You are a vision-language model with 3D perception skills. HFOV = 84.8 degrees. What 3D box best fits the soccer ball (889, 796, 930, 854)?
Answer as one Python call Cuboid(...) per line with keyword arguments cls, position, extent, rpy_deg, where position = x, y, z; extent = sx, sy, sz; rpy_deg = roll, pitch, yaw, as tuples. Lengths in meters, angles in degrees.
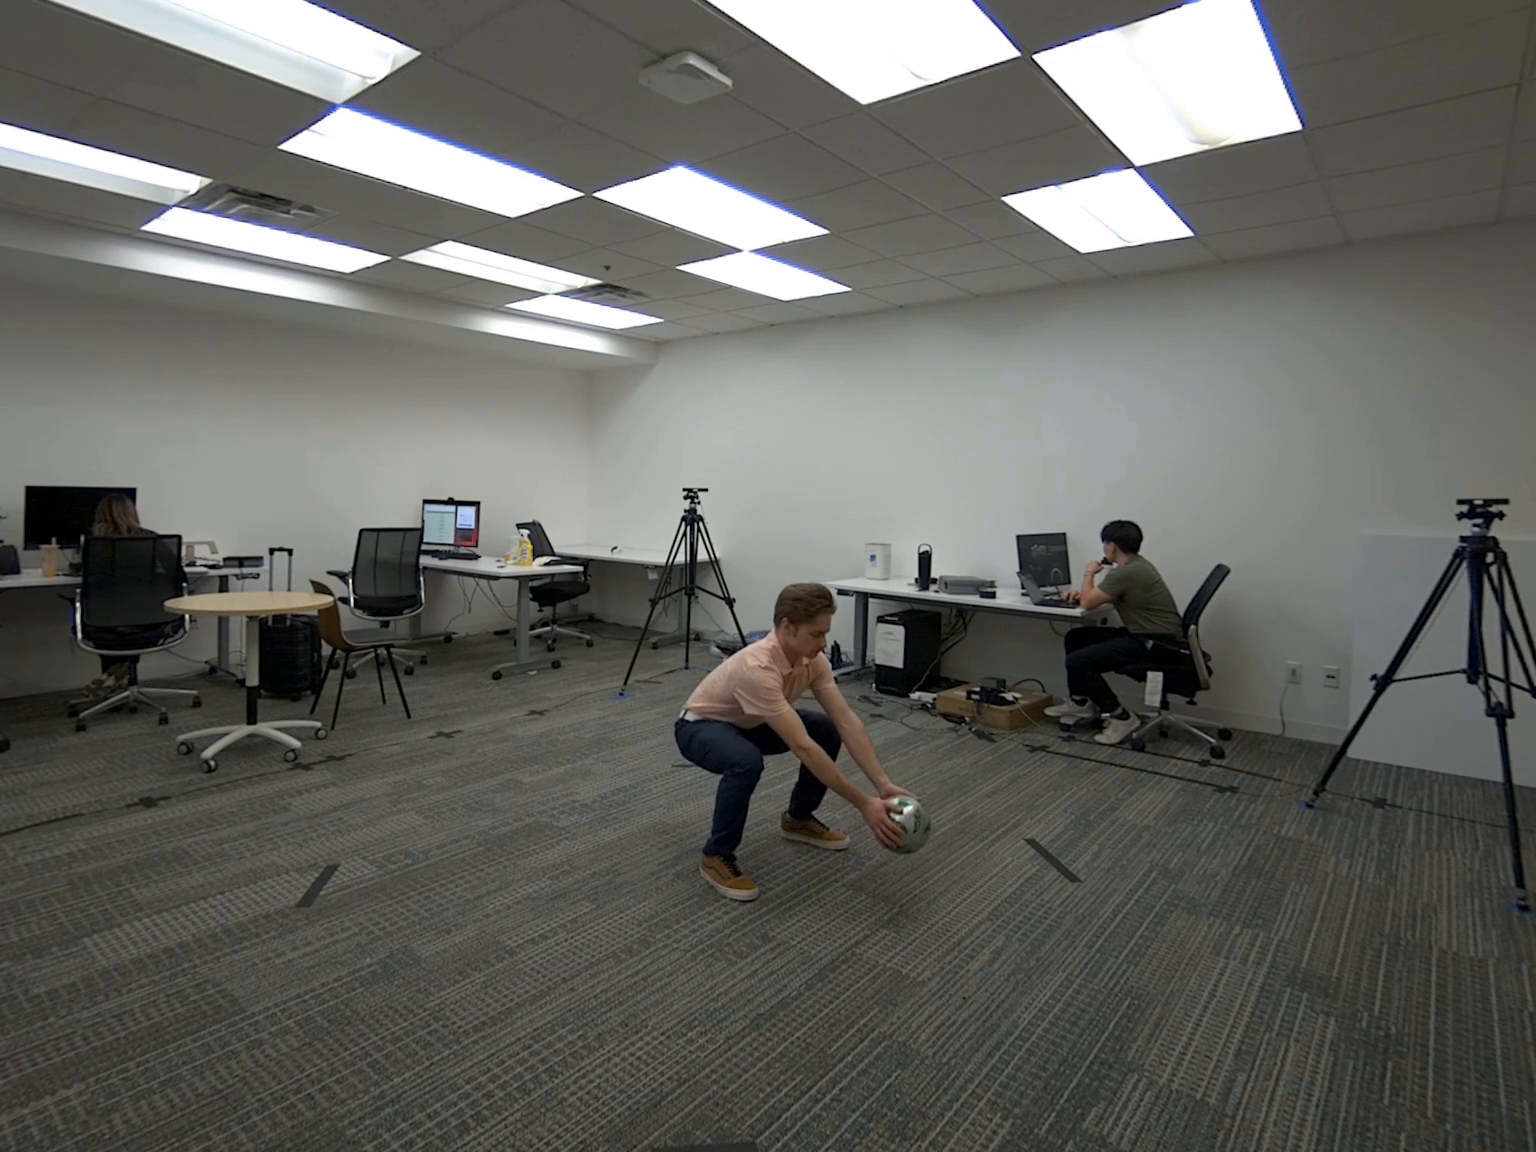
Cuboid(cls="soccer ball", position=(0.430, 0.831, 2.867), extent=(0.187, 0.187, 0.188), rpy_deg=(1, 4, -2))
